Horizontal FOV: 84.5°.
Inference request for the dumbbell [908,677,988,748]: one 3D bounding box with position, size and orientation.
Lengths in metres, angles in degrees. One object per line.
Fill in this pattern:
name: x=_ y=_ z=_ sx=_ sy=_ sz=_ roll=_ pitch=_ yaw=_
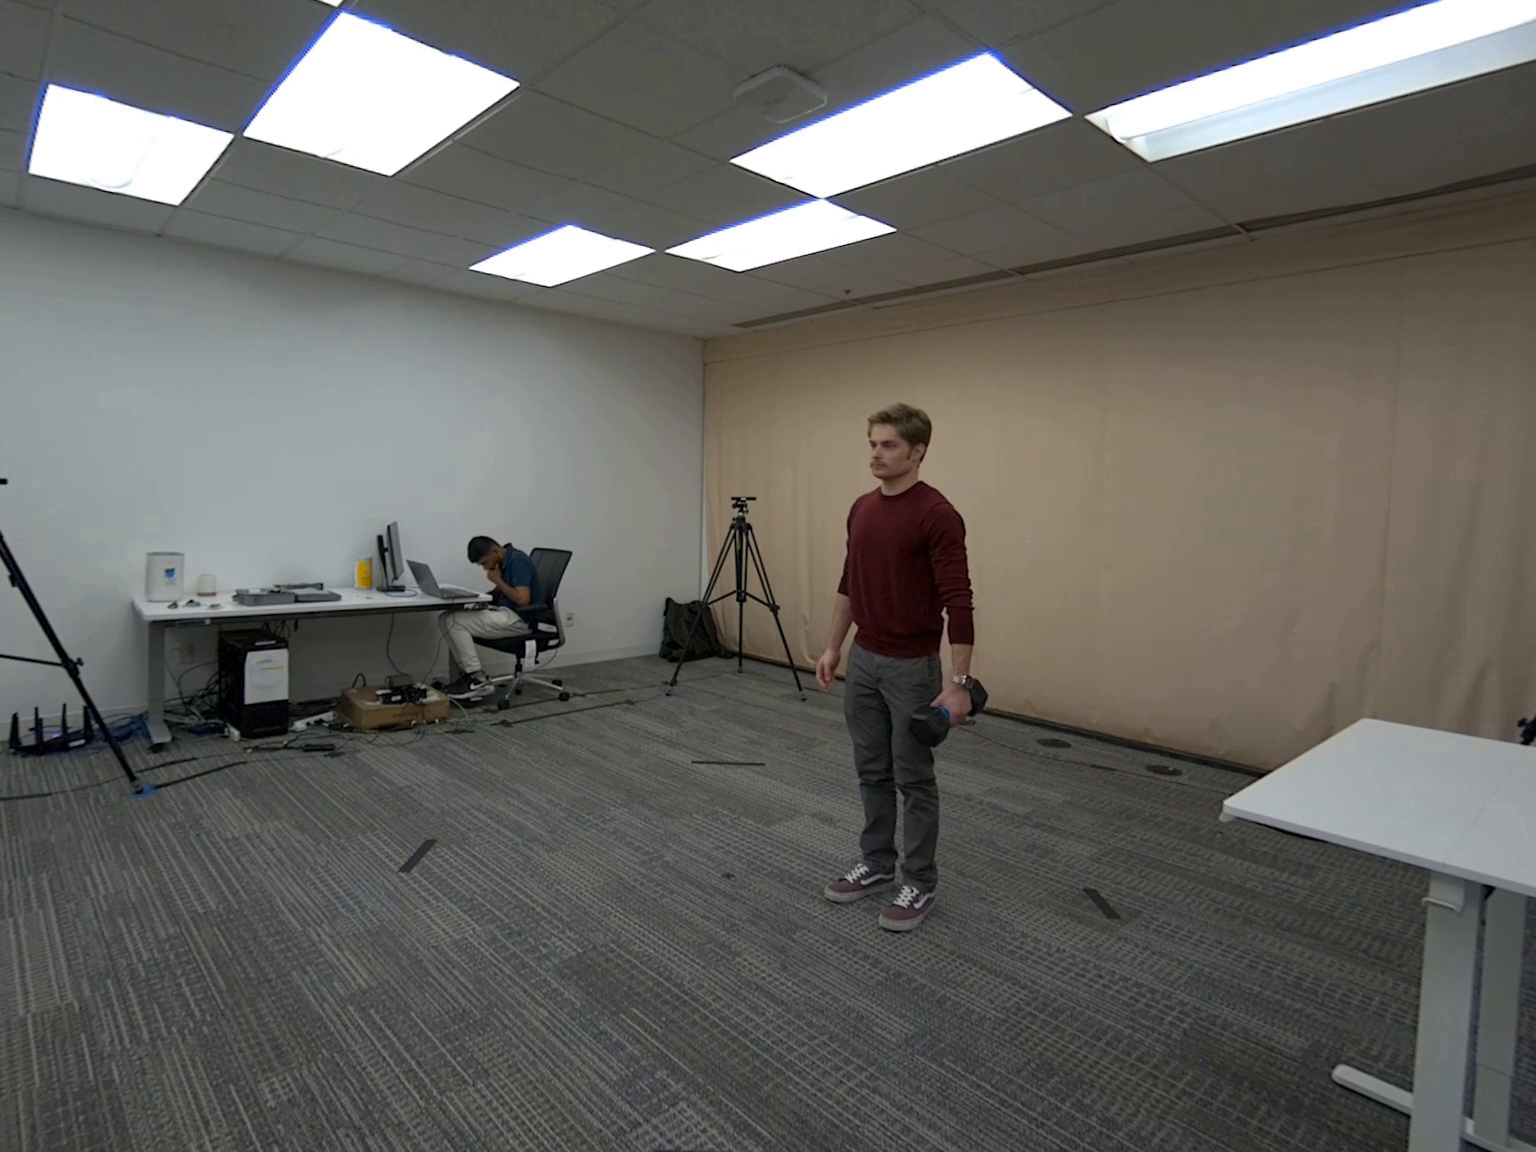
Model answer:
dumbbell: x=0.555 y=0.425 z=2.640 sx=0.290 sy=0.124 sz=0.109 roll=-26 pitch=-13 yaw=-40
